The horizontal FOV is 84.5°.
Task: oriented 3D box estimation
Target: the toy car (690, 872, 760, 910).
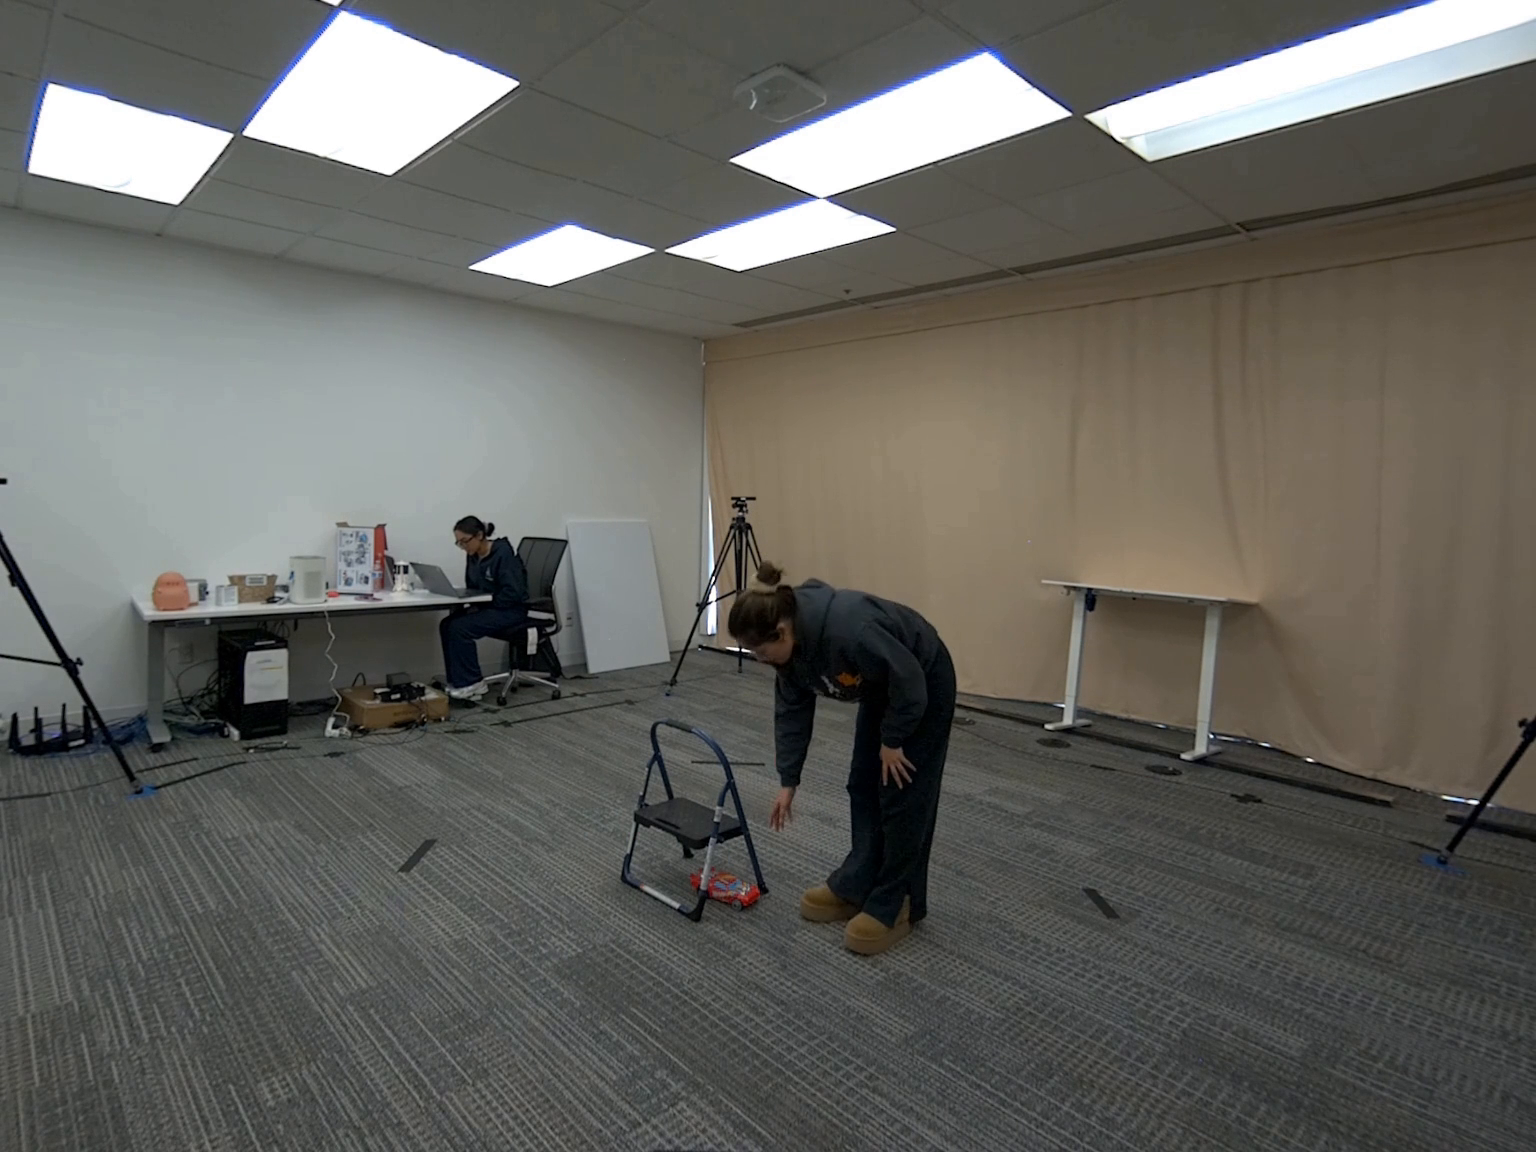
[{"bbox_3d":[-0.161,1.087,2.954,0.261,0.083,0.127,17,13,32],"label":"toy car"}]
